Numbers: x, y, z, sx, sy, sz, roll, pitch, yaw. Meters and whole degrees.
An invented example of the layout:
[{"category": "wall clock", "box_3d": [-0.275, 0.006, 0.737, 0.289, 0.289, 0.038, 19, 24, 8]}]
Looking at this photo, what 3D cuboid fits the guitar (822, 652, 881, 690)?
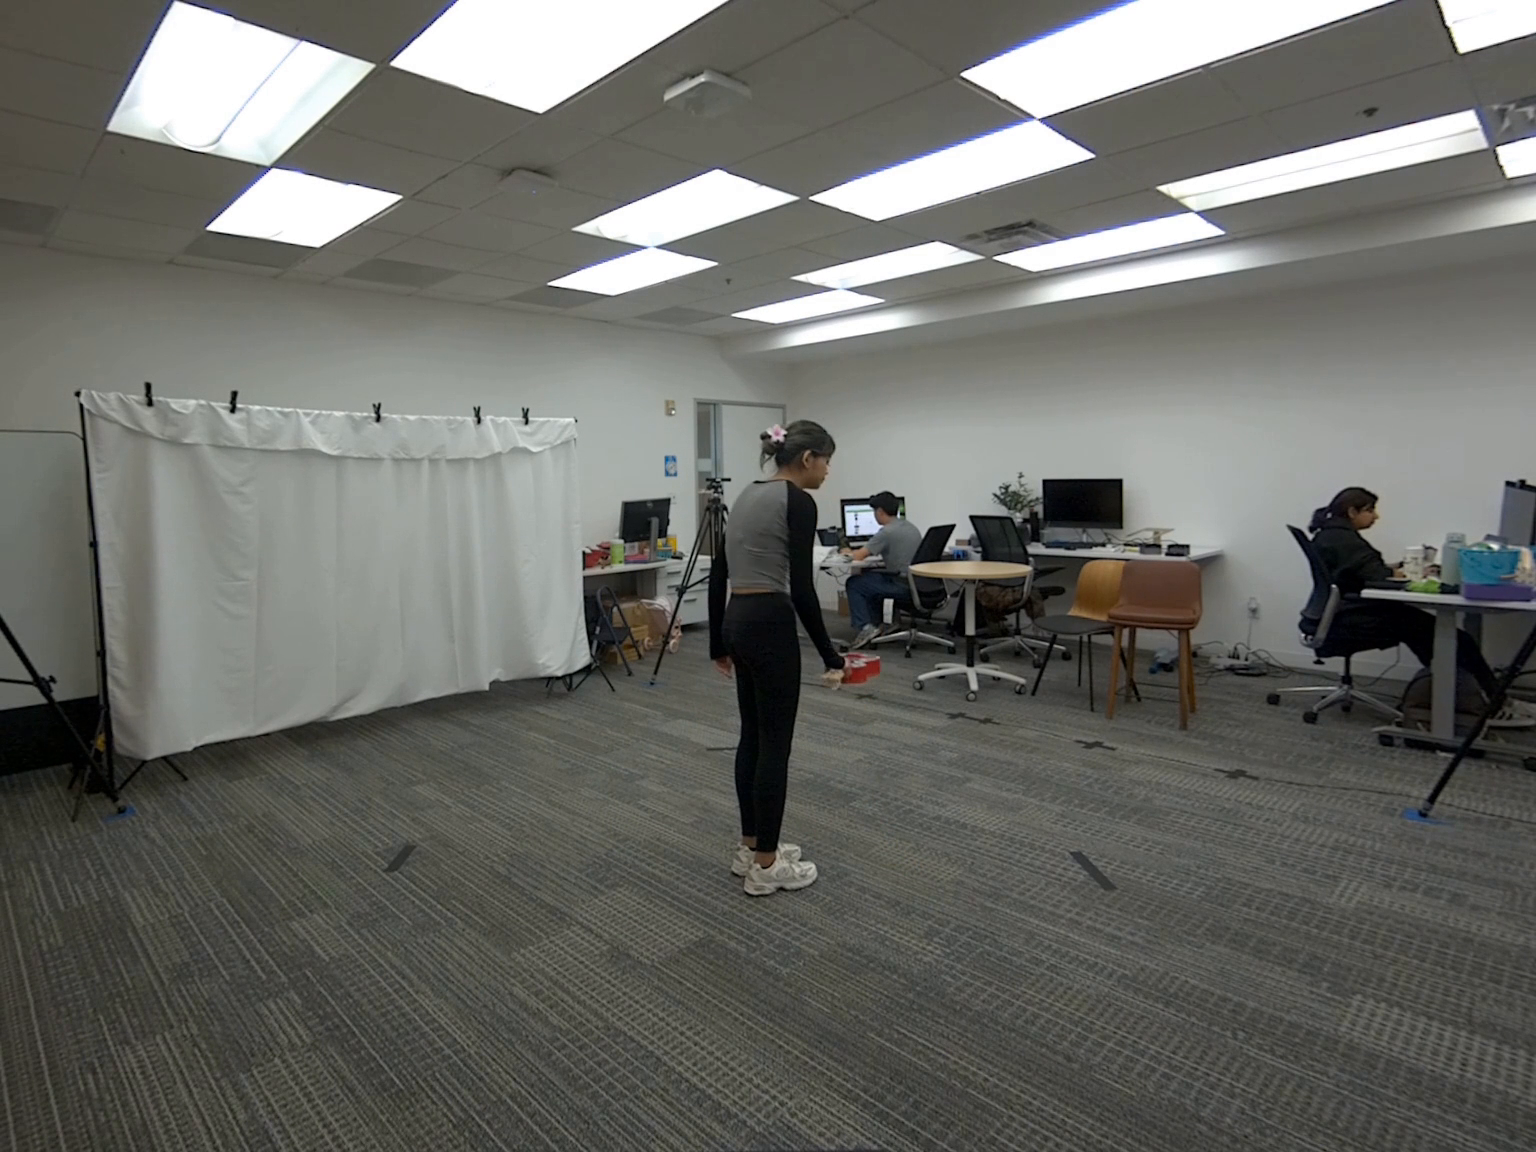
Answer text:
[{"category": "guitar", "box_3d": [0.238, 0.340, 2.978, 0.197, 0.070, 0.487, 3, 5, 25]}]
